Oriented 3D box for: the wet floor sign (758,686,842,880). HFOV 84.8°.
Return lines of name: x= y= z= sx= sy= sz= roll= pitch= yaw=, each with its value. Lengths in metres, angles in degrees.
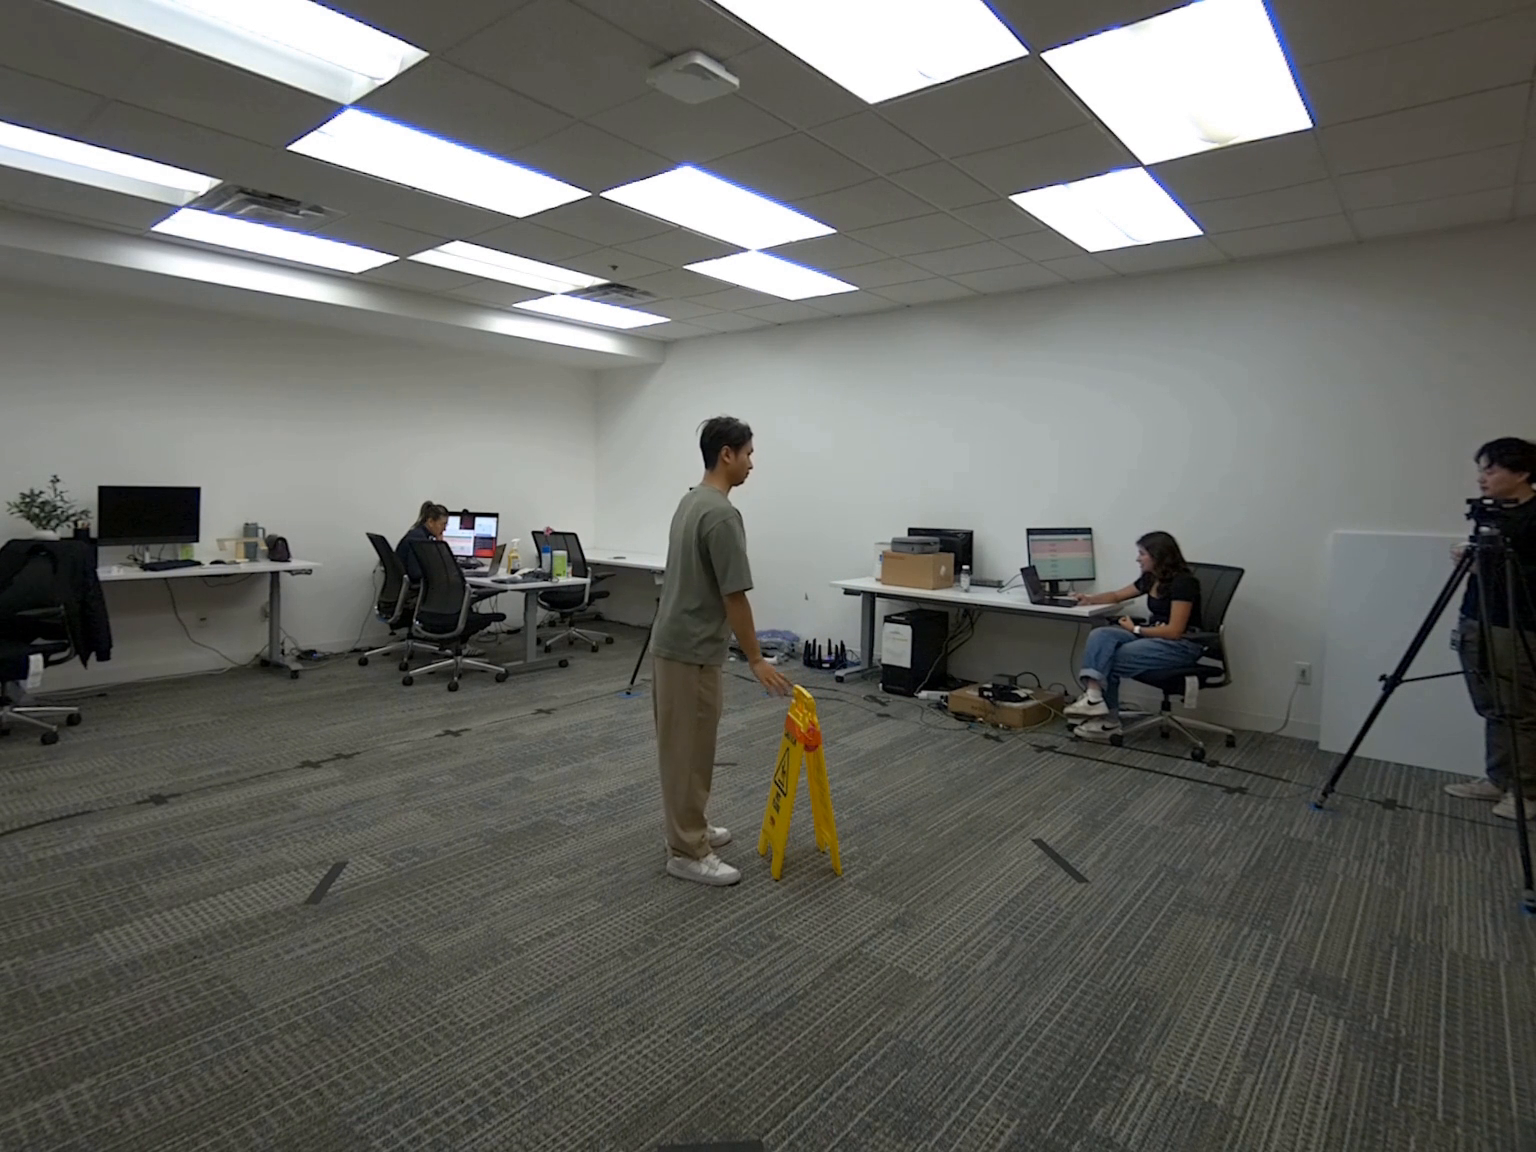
wet floor sign: x=0.112 y=0.748 z=3.155 sx=0.286 sy=0.644 sz=0.287 roll=1 pitch=4 yaw=-12
